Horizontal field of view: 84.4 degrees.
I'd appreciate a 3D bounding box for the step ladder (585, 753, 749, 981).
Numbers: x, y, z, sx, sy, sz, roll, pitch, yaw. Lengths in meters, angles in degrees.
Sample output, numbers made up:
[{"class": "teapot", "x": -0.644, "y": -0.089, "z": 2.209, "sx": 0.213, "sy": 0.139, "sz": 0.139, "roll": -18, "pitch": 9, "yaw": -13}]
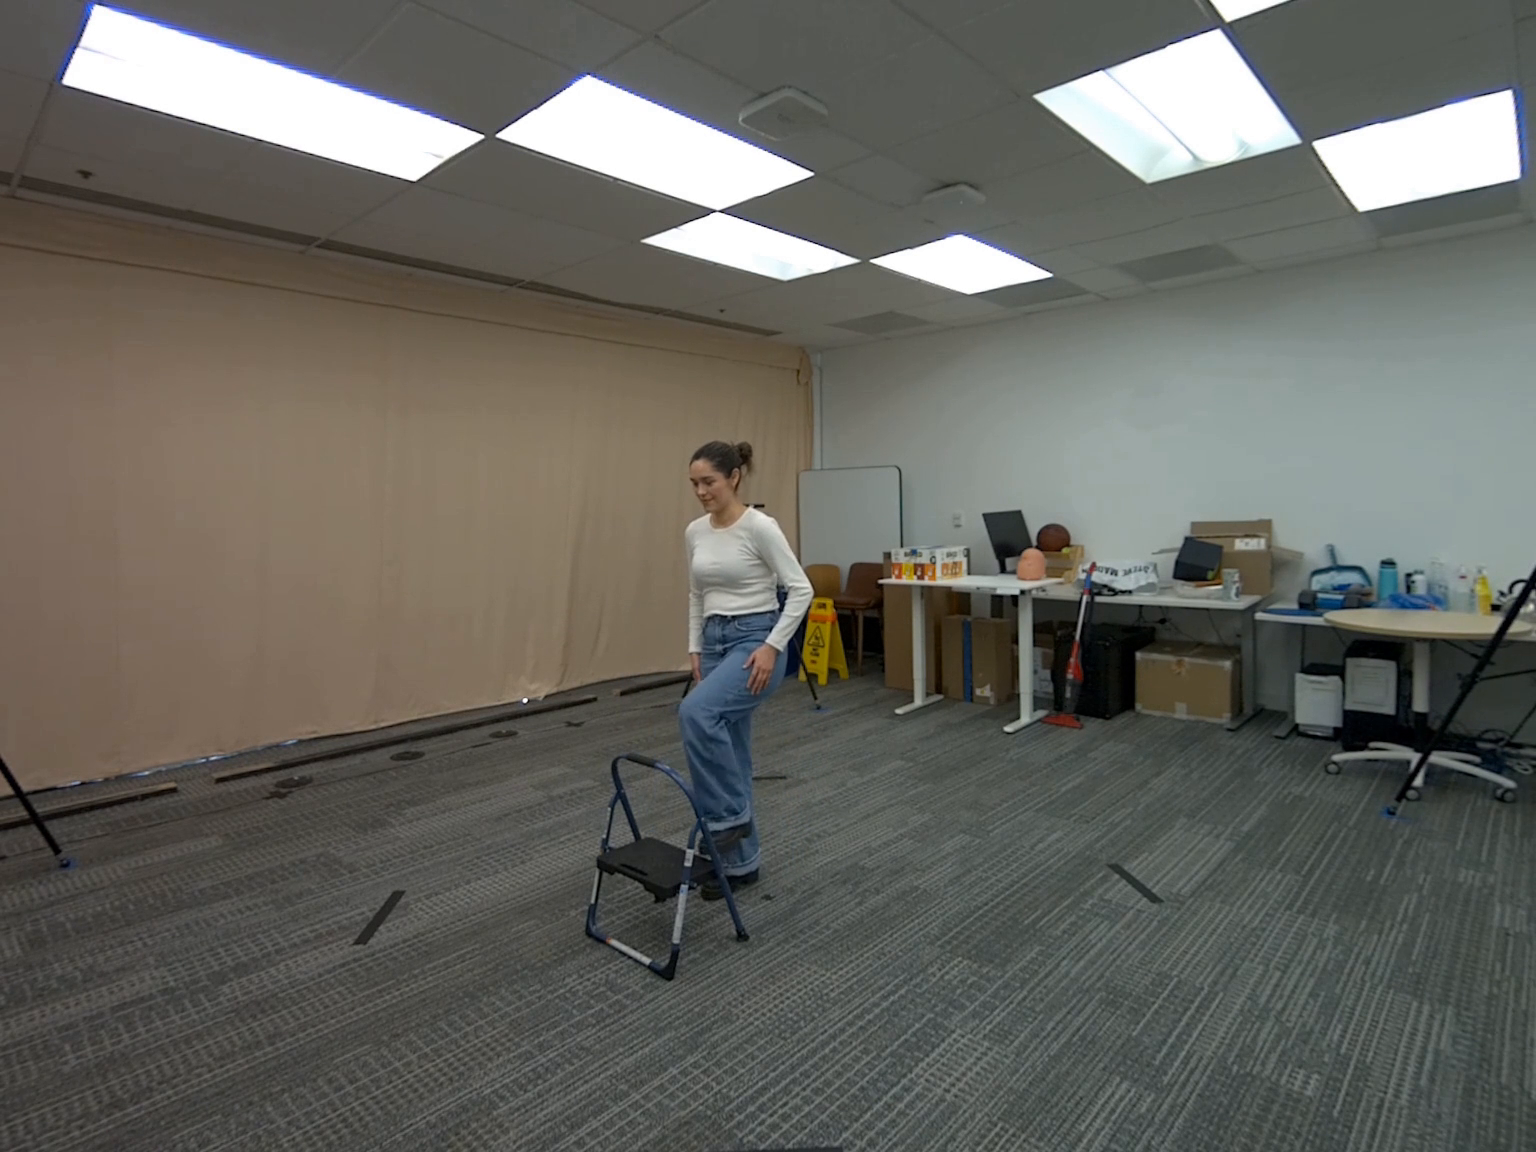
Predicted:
[{"class": "step ladder", "x": -0.335, "y": 0.866, "z": 2.717, "sx": 0.445, "sy": 0.605, "sz": 0.338, "roll": 2, "pitch": 4, "yaw": 42}]
